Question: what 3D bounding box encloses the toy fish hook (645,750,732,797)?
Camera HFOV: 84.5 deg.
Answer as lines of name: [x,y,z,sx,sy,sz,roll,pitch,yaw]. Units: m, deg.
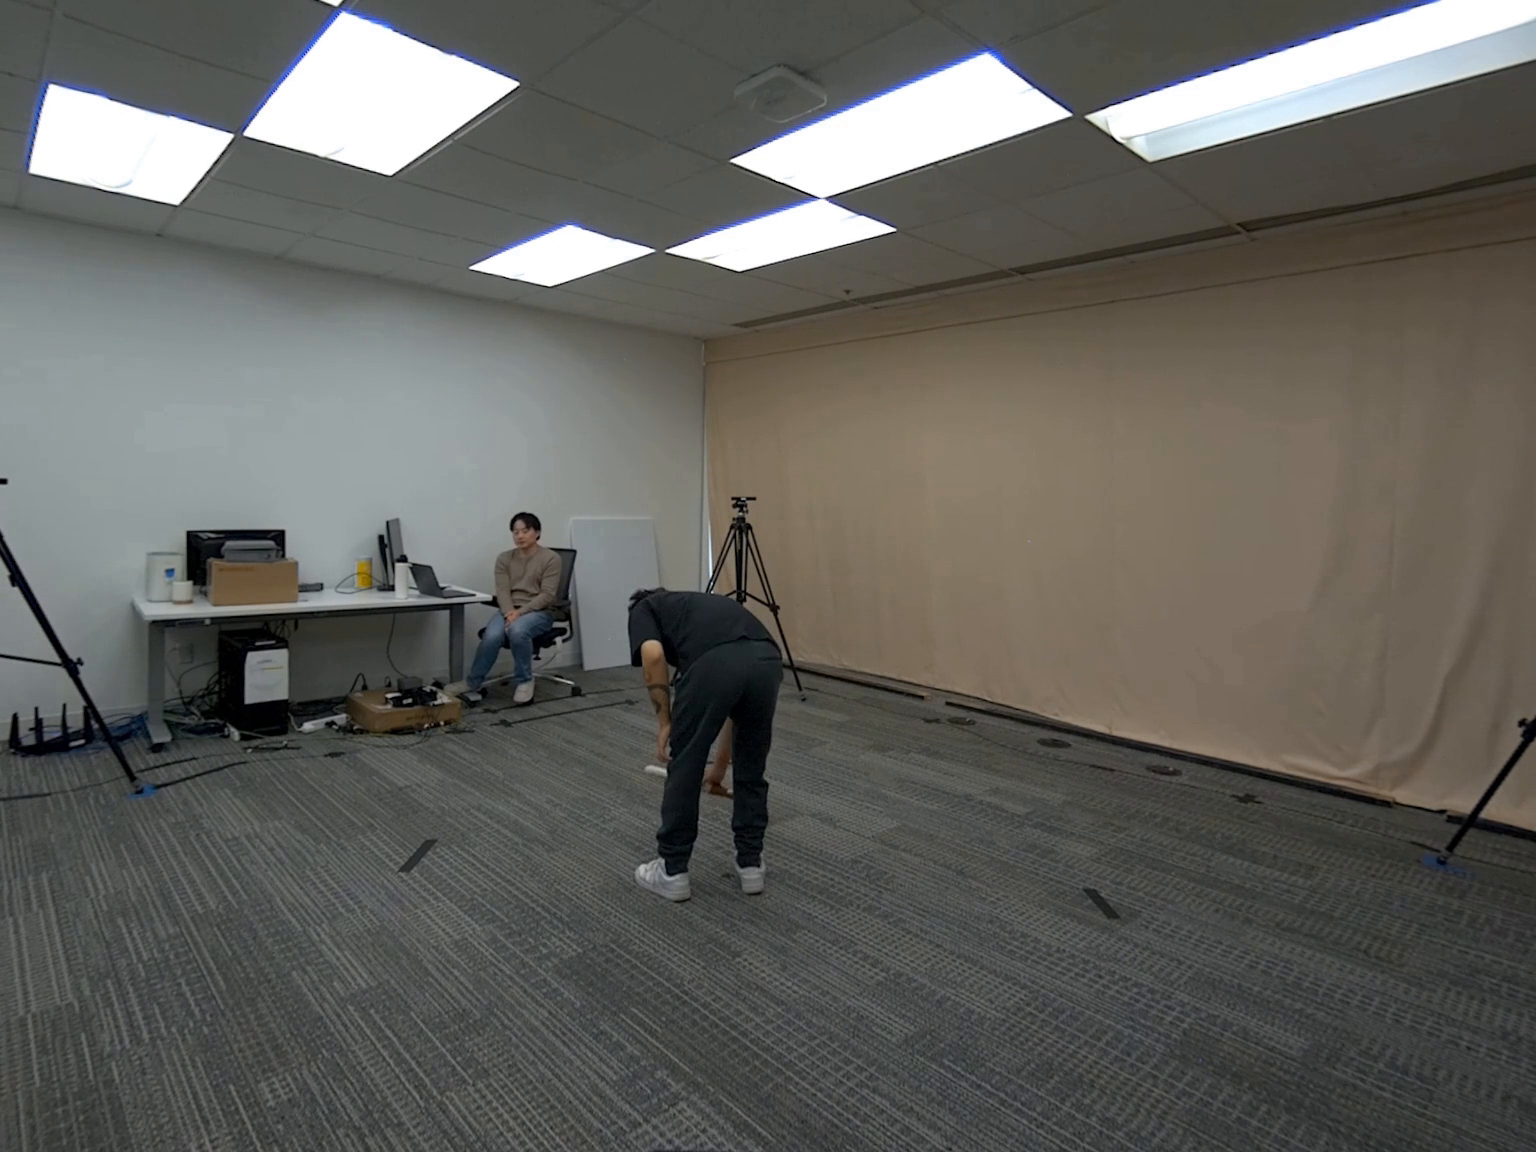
toy fish hook: [-0.266,0.845,3.390,0.516,0.049,0.219,12,-19,21]
